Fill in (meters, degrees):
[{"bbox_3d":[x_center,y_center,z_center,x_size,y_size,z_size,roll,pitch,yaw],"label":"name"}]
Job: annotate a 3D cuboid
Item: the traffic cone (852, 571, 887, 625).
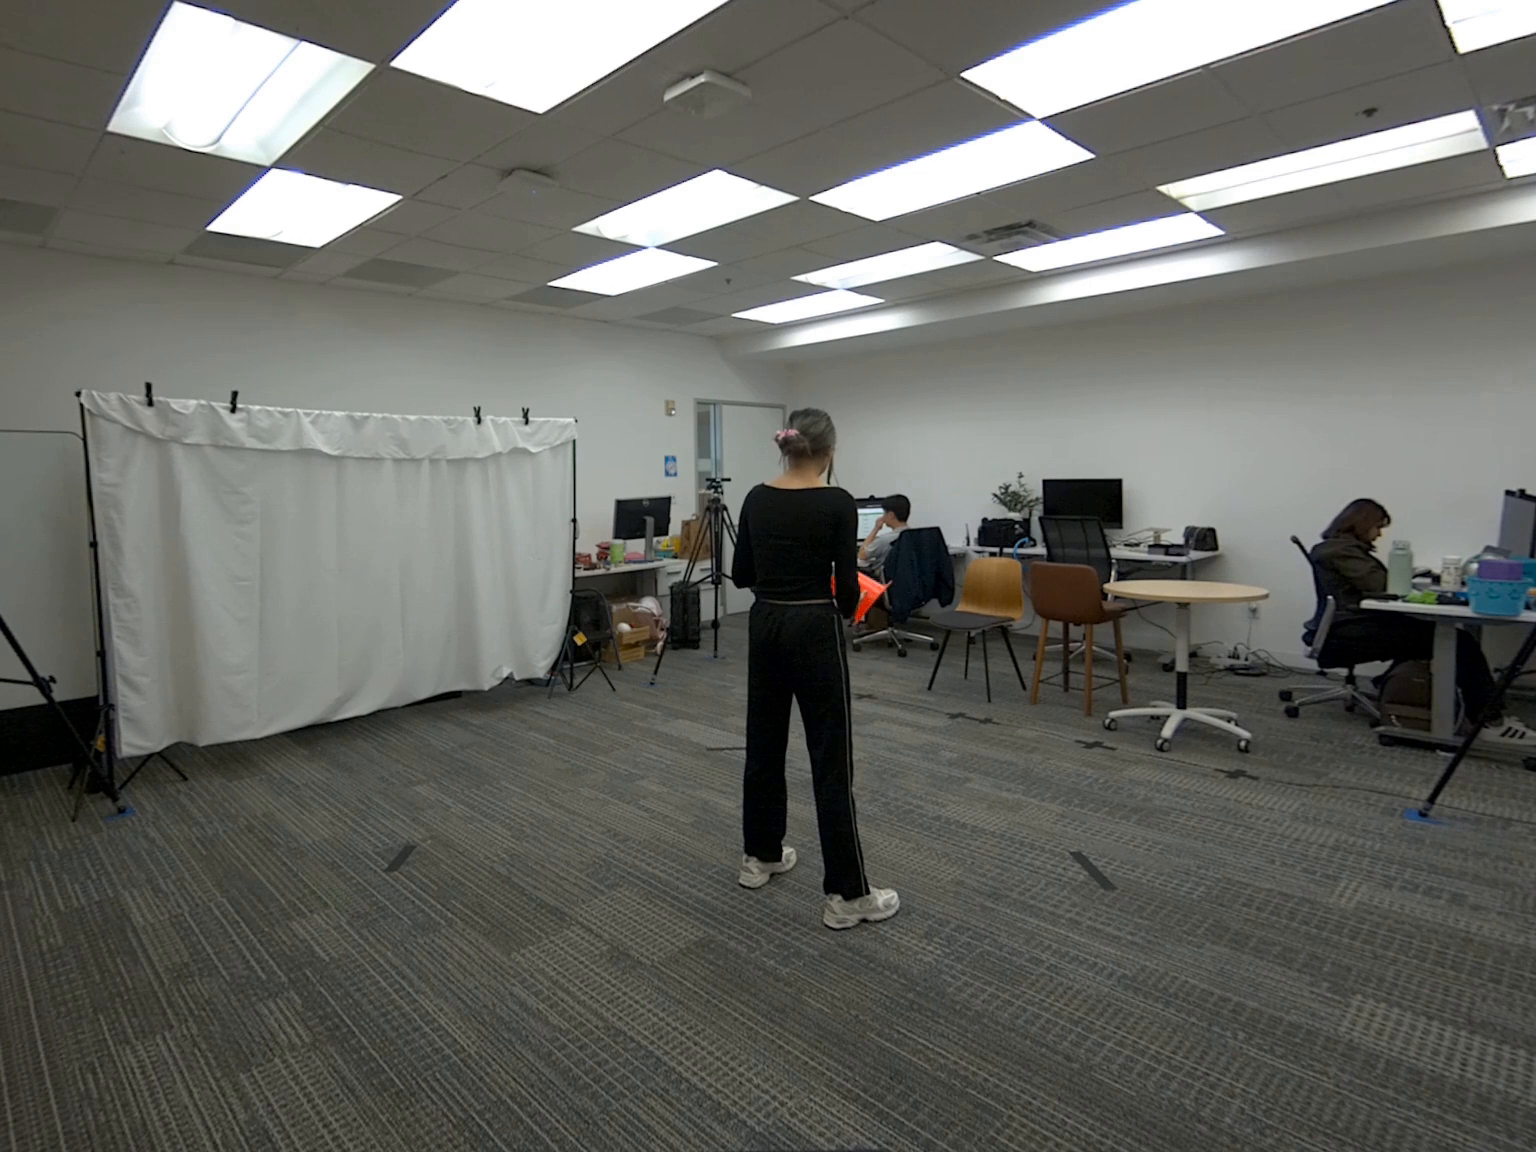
[{"bbox_3d":[0.238,-0.018,3.141,0.389,0.205,0.200,43,-5,10],"label":"traffic cone"}]
